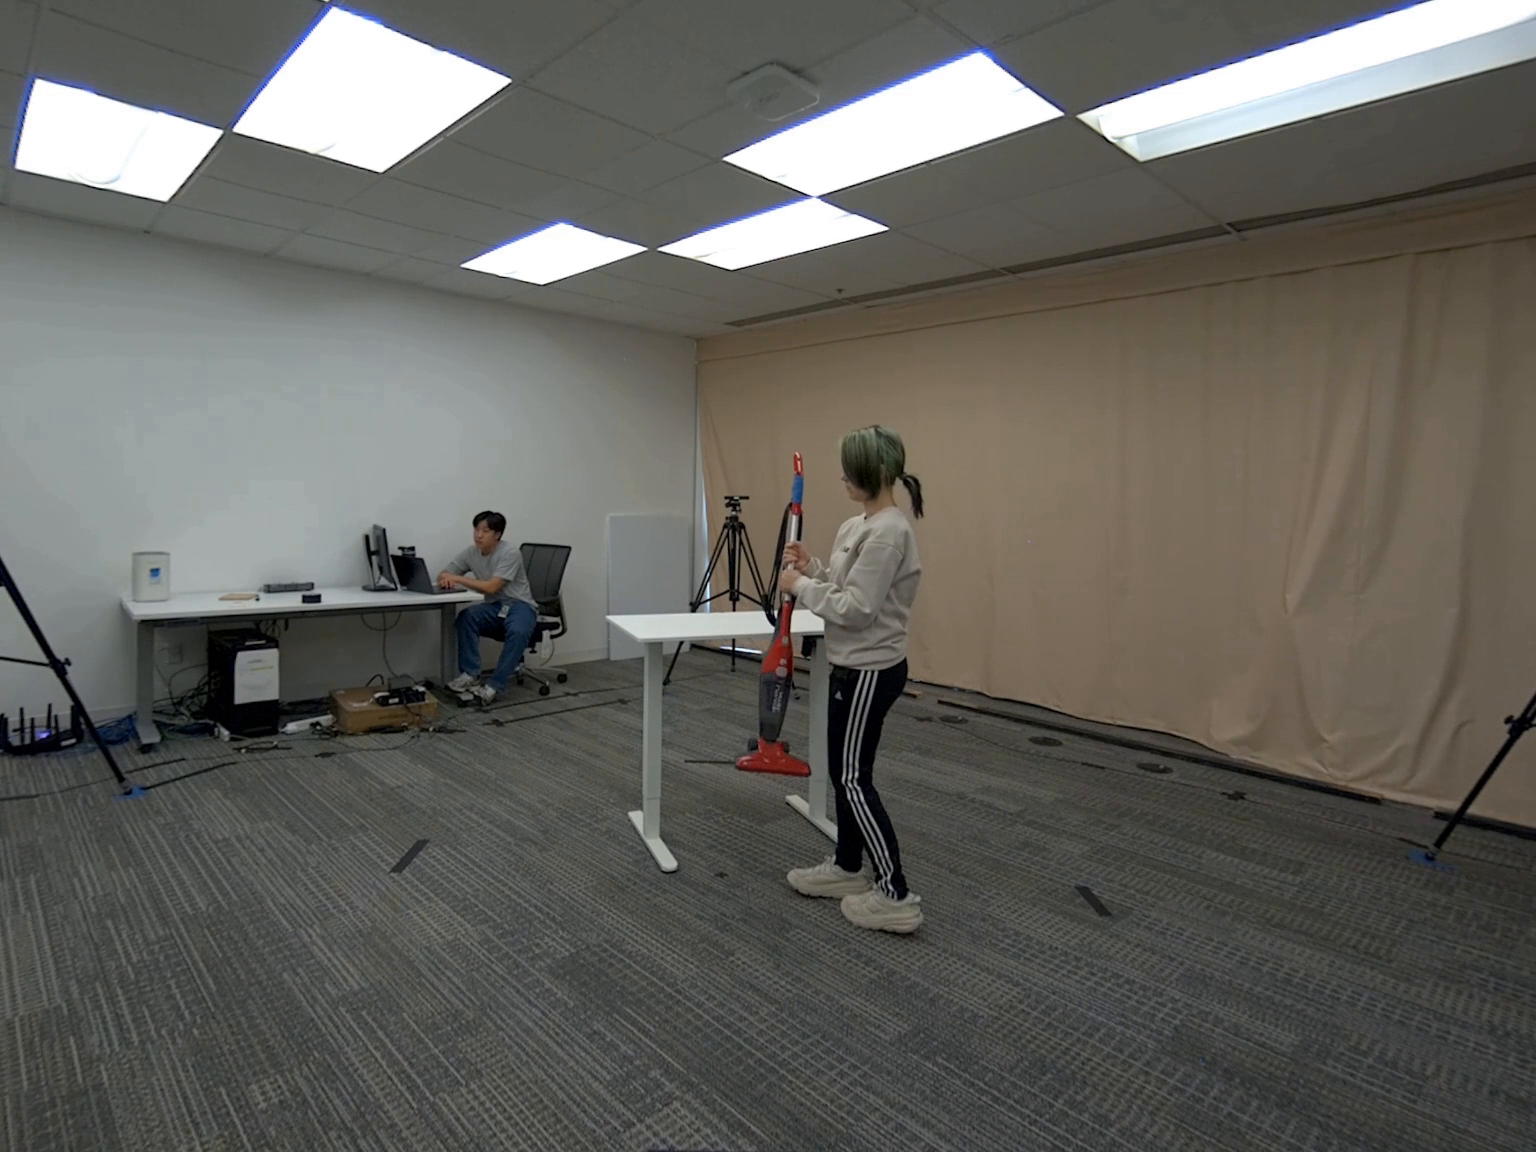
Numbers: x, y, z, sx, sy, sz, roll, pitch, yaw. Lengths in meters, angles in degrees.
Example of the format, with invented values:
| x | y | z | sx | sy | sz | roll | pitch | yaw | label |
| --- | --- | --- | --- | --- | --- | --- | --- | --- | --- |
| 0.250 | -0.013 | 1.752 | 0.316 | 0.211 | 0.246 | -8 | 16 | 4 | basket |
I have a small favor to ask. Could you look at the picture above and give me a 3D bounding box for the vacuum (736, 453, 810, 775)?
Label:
| x | y | z | sx | sy | sz | roll | pitch | yaw | label |
| --- | --- | --- | --- | --- | --- | --- | --- | --- | --- |
| 0.059 | 0.090 | 2.861 | 0.252 | 1.059 | 0.143 | 5 | -14 | -1 | vacuum |
